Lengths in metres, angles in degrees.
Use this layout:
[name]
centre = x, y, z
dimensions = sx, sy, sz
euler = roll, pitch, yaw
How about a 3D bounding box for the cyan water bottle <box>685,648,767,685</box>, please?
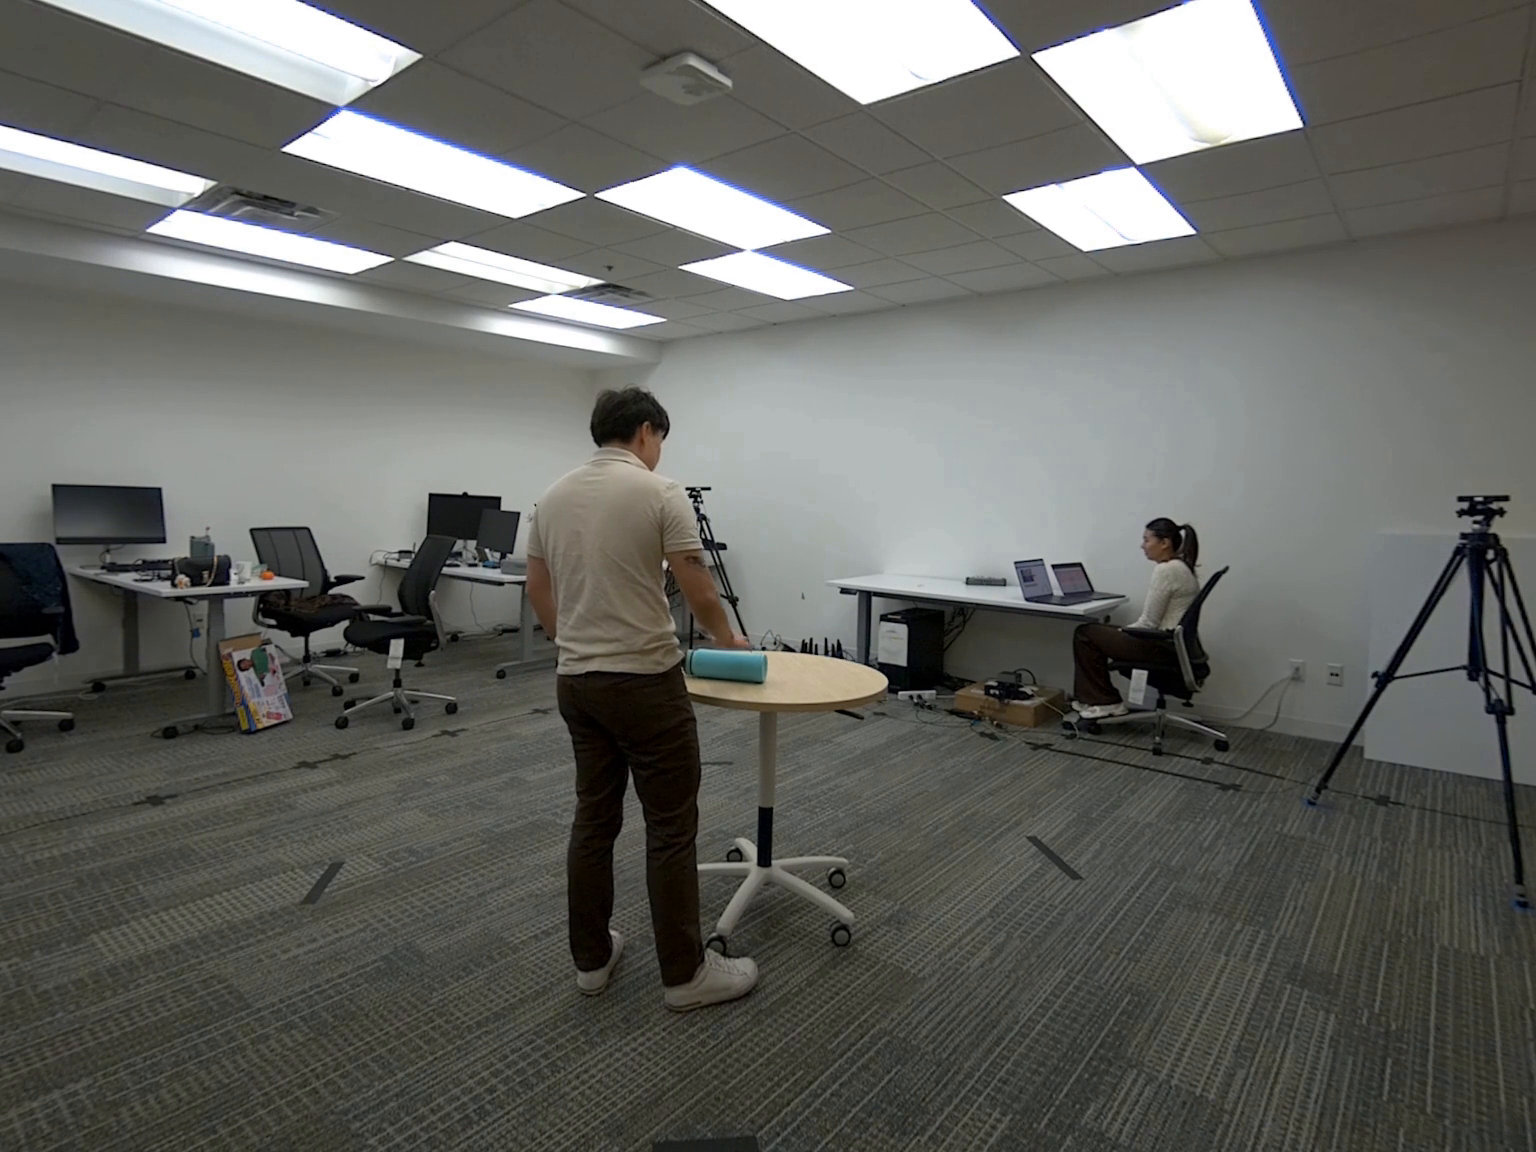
[cyan water bottle]
centre = -0.152, 0.280, 2.692
dimensions = 0.288, 0.092, 0.091
euler = 2, 4, 13
